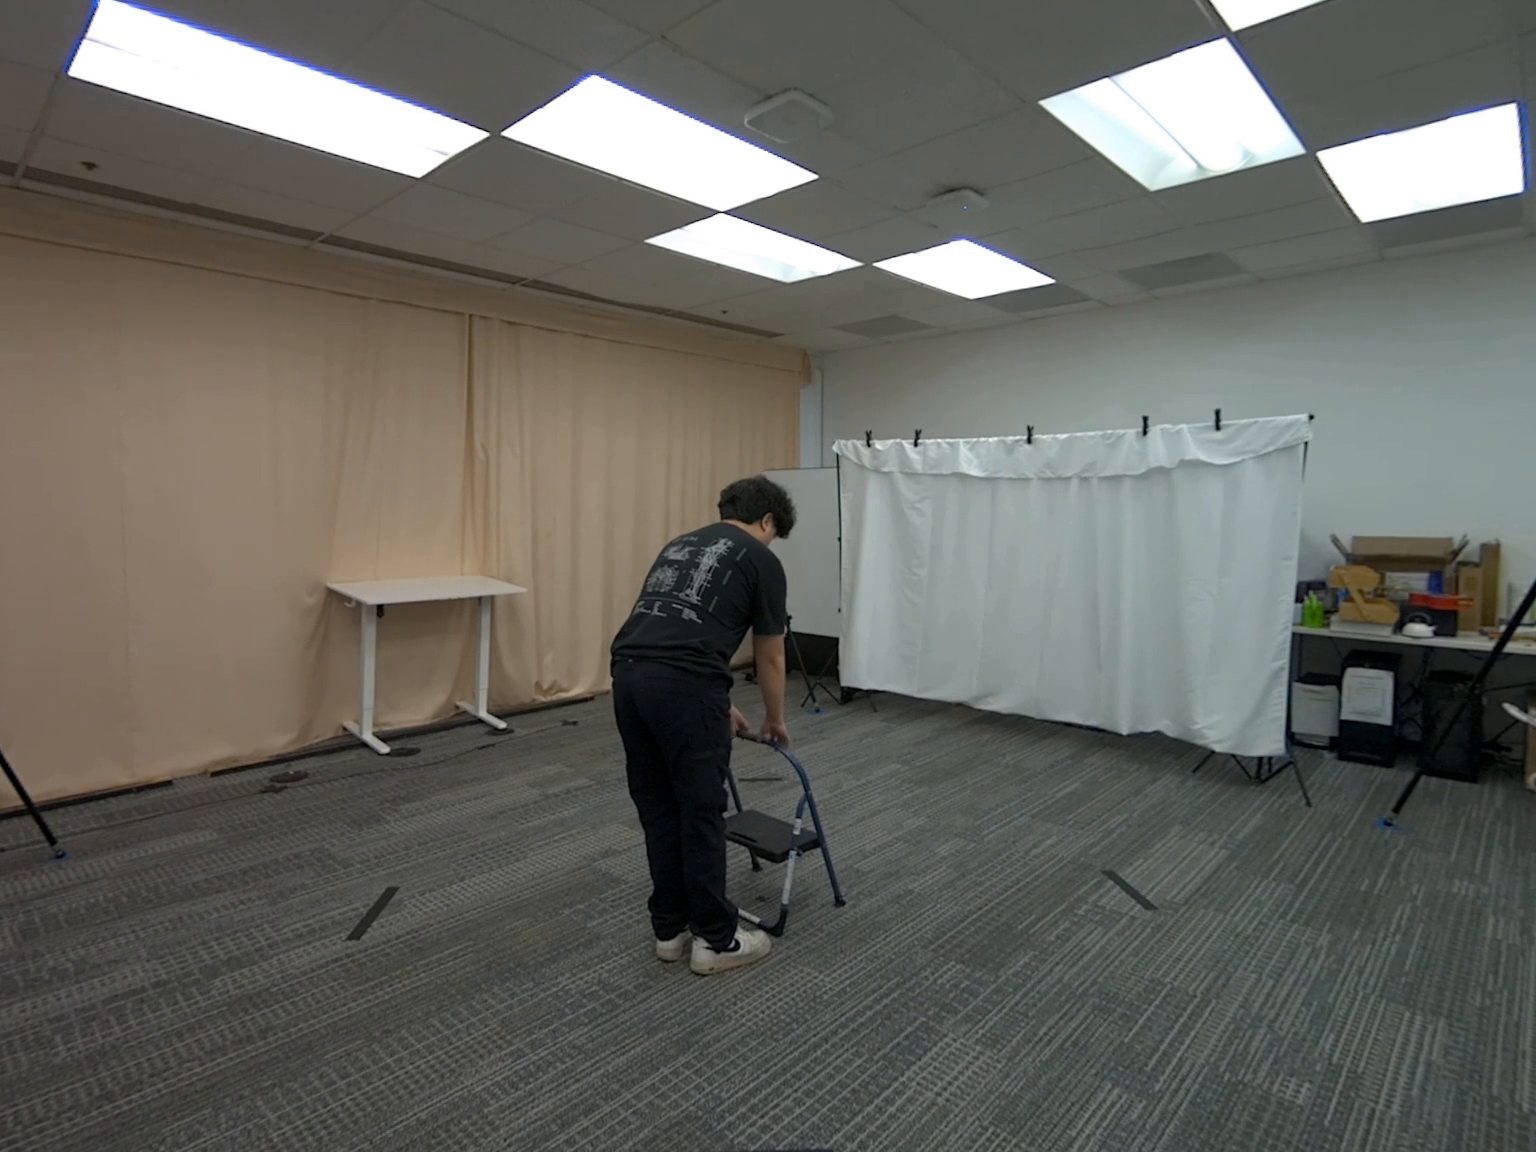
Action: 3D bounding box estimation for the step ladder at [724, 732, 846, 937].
[{"bbox_3d":[0.004,0.843,2.960,0.445,0.605,0.338,3,4,43],"label":"step ladder"}]
